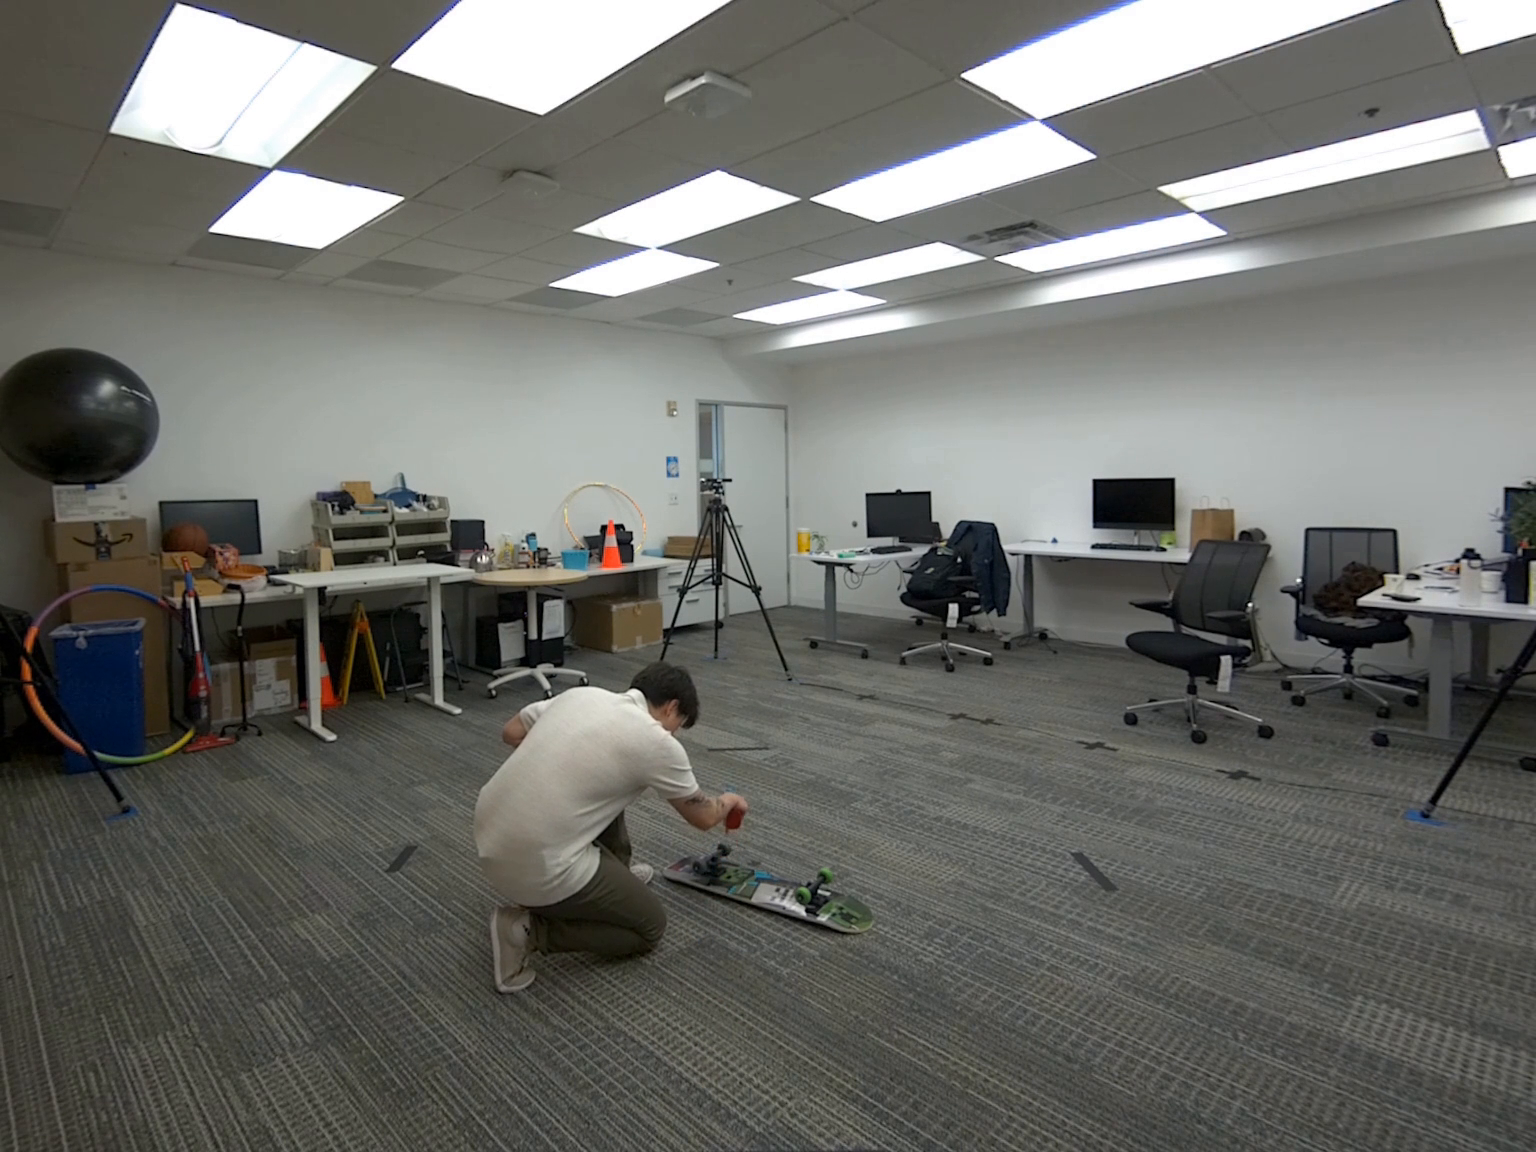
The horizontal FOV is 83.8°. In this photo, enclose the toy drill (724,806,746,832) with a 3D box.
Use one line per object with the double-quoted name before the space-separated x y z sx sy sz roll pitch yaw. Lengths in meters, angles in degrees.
"toy drill" -0.126 0.844 2.912 0.061 0.168 0.148 9 13 -8
